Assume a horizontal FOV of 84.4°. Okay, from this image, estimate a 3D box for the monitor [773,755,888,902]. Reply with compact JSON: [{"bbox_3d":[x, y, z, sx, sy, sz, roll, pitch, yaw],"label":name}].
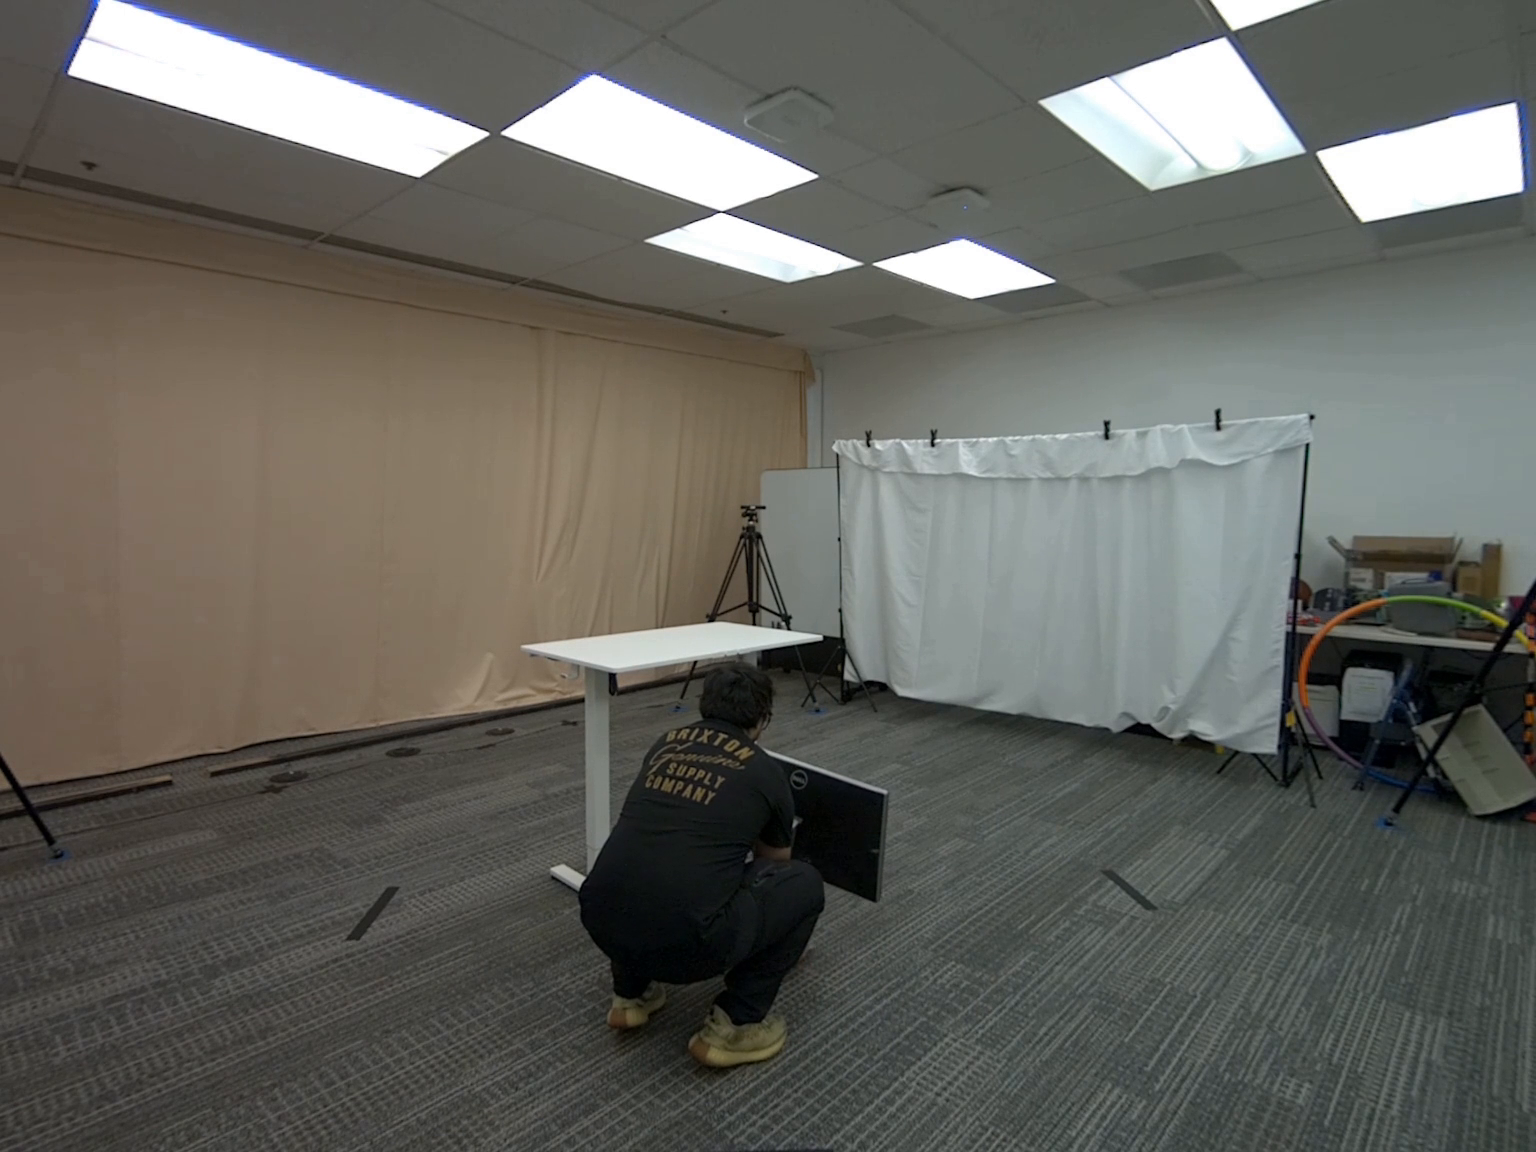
[{"bbox_3d":[0.070,0.854,2.599,0.584,0.552,0.204,11,7,34],"label":"monitor"}]
